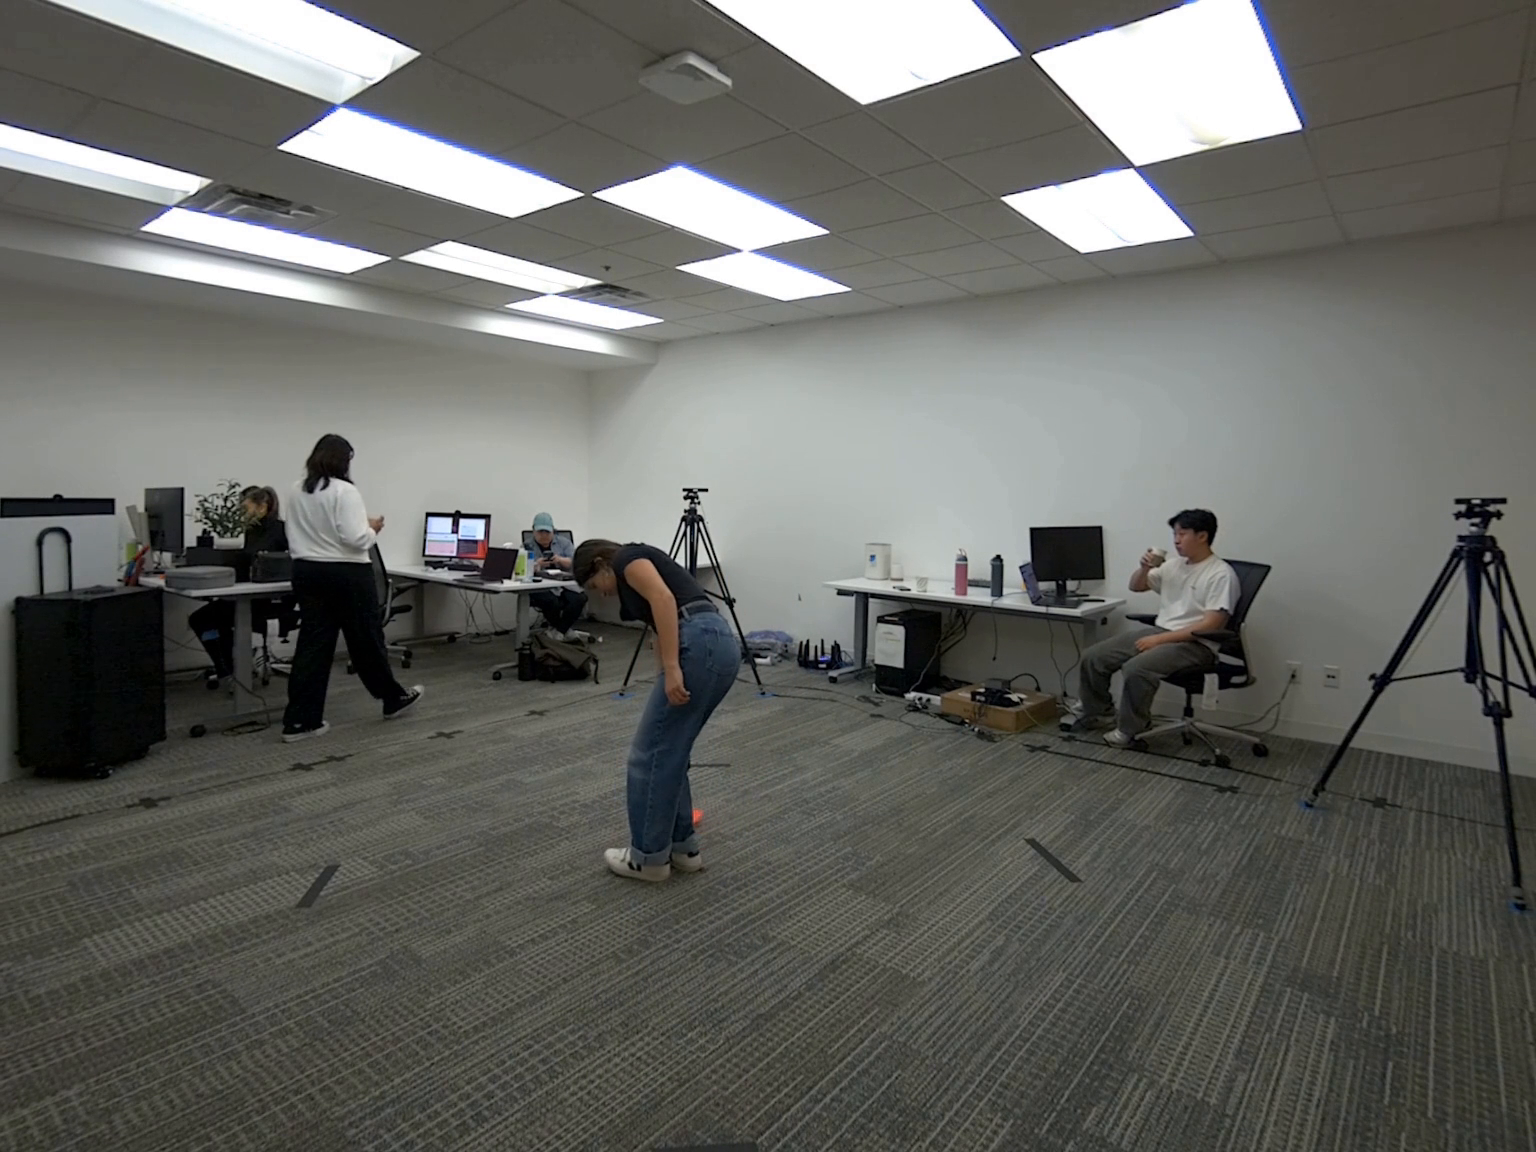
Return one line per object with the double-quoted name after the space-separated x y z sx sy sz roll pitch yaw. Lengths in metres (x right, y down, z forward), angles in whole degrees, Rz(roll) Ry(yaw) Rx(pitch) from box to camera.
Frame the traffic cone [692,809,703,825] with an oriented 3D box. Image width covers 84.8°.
-0.402 0.817 3.465 0.209 0.378 0.202 3 16 28 "traffic cone"
